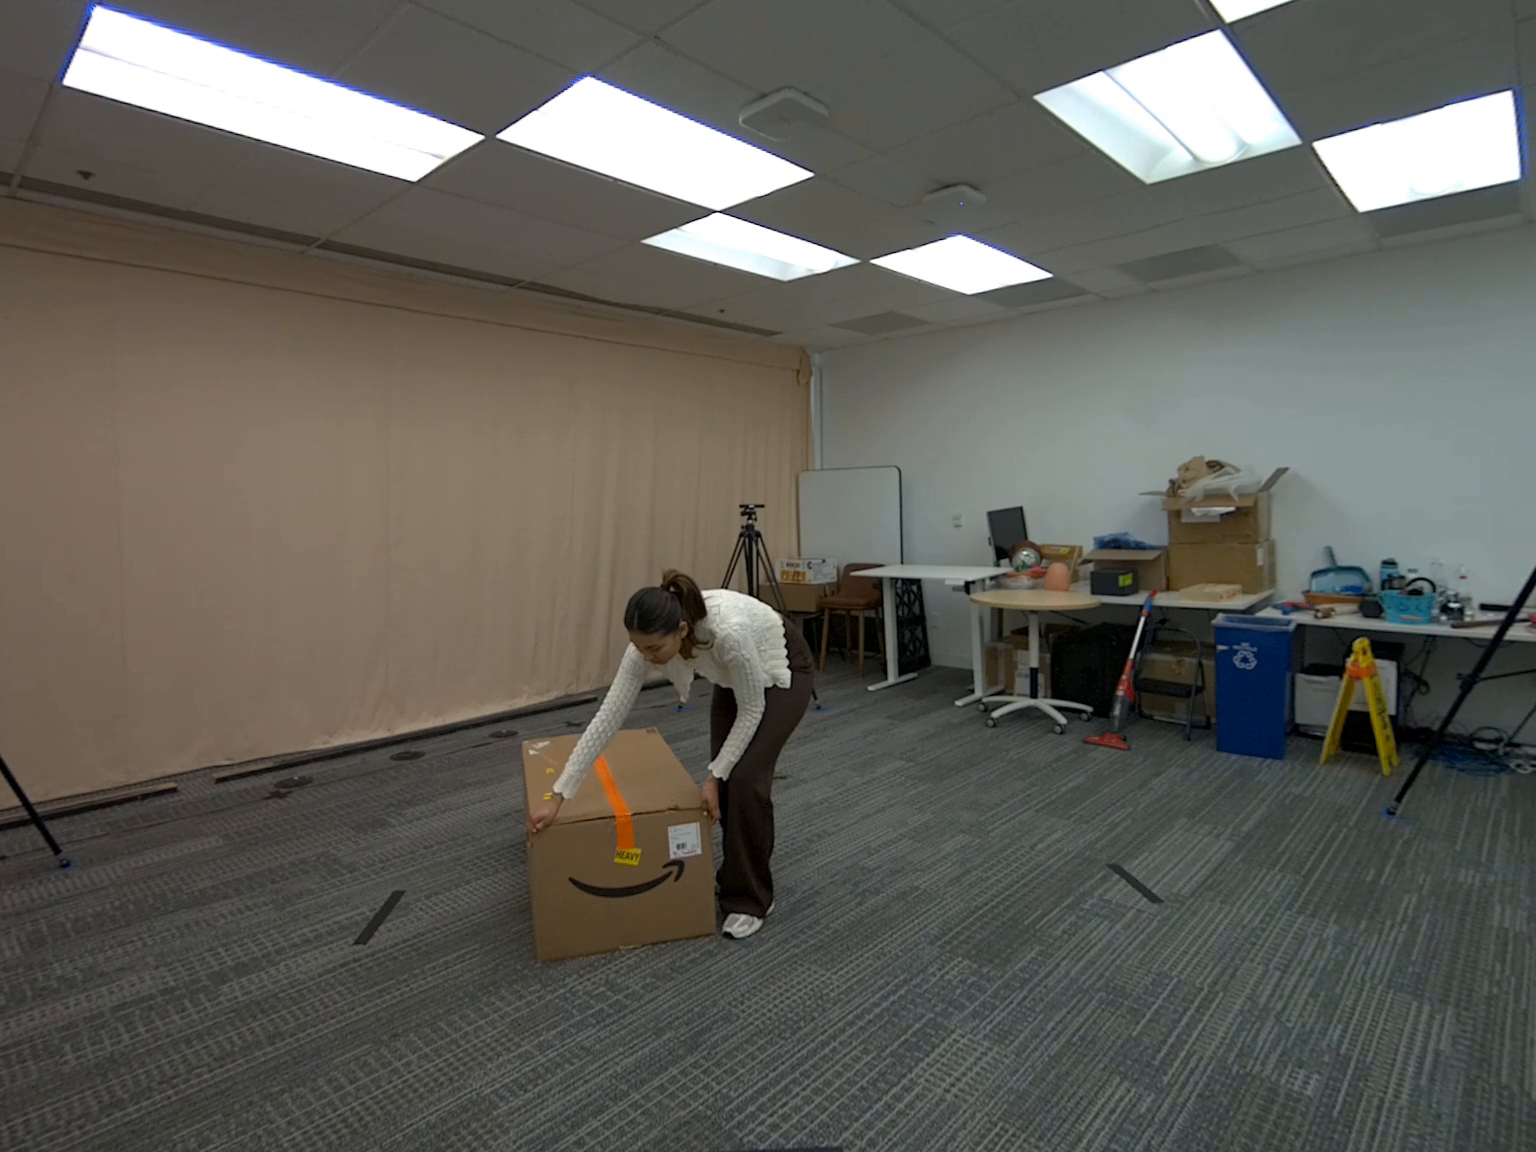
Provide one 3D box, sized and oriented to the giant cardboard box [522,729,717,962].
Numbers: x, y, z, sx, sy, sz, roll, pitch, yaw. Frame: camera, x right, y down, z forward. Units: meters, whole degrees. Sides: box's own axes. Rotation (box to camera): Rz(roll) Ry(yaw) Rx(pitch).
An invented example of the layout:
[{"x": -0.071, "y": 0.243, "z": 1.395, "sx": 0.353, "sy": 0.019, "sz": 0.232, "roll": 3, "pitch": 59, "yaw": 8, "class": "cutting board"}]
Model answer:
[{"x": -0.605, "y": 0.922, "z": 3.141, "sx": 0.568, "sy": 0.425, "sz": 1.045, "roll": -3, "pitch": 5, "yaw": -17, "class": "giant cardboard box"}]
